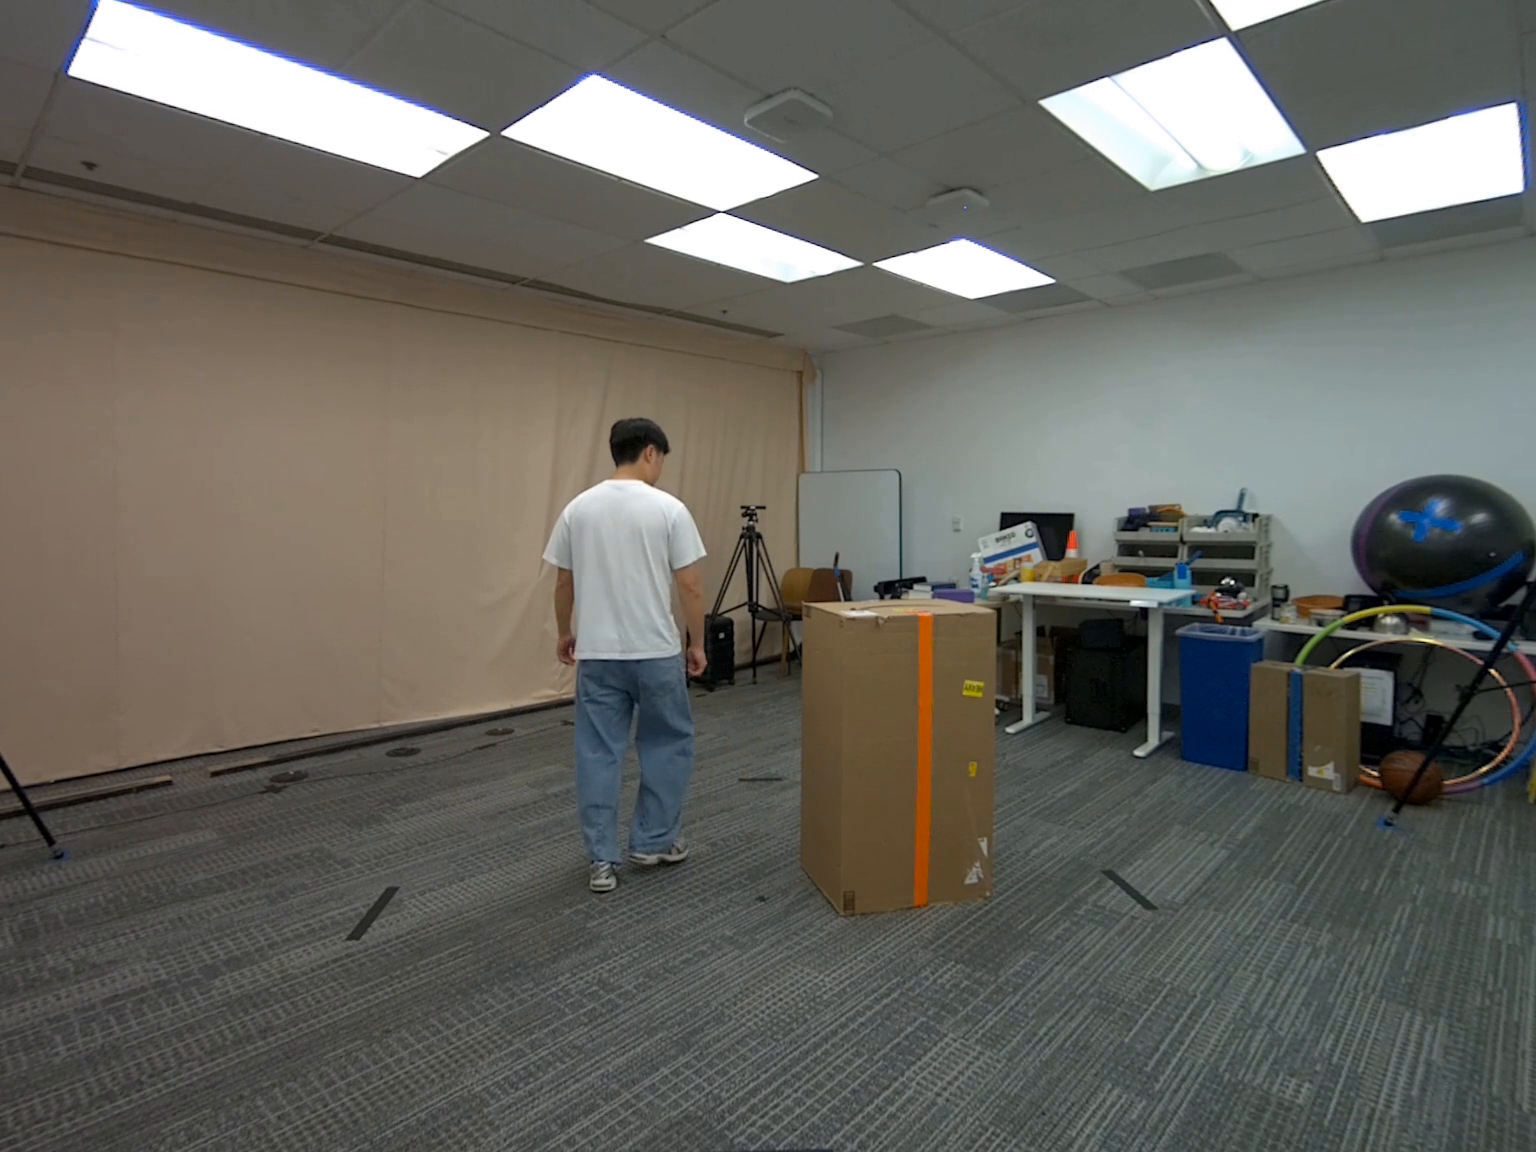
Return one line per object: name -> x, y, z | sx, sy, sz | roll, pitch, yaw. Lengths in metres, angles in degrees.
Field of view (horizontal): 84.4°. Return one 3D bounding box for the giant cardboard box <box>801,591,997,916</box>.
giant cardboard box -> 0.469, 0.626, 3.089 | 0.568, 1.024, 0.434 | 0, 3, -17
